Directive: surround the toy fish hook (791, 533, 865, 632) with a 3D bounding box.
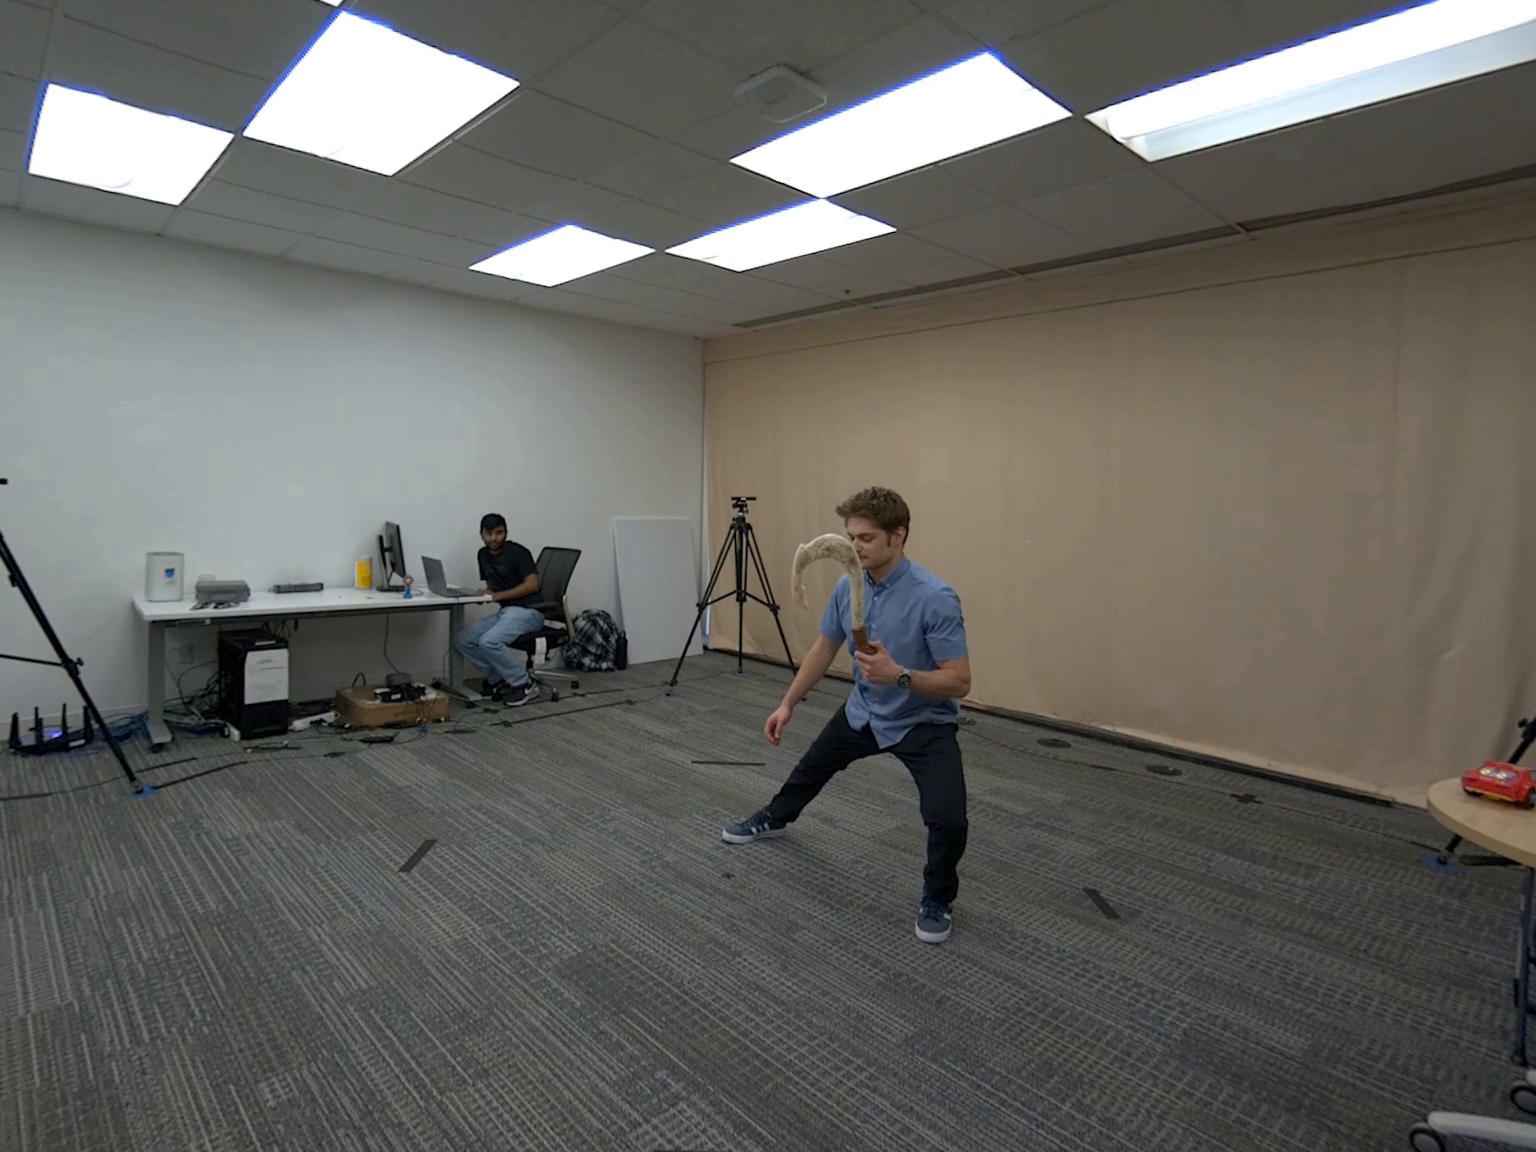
[{"bbox_3d":[0.209,0.120,2.518,0.224,0.500,0.049,-22,13,-3],"label":"toy fish hook"}]
